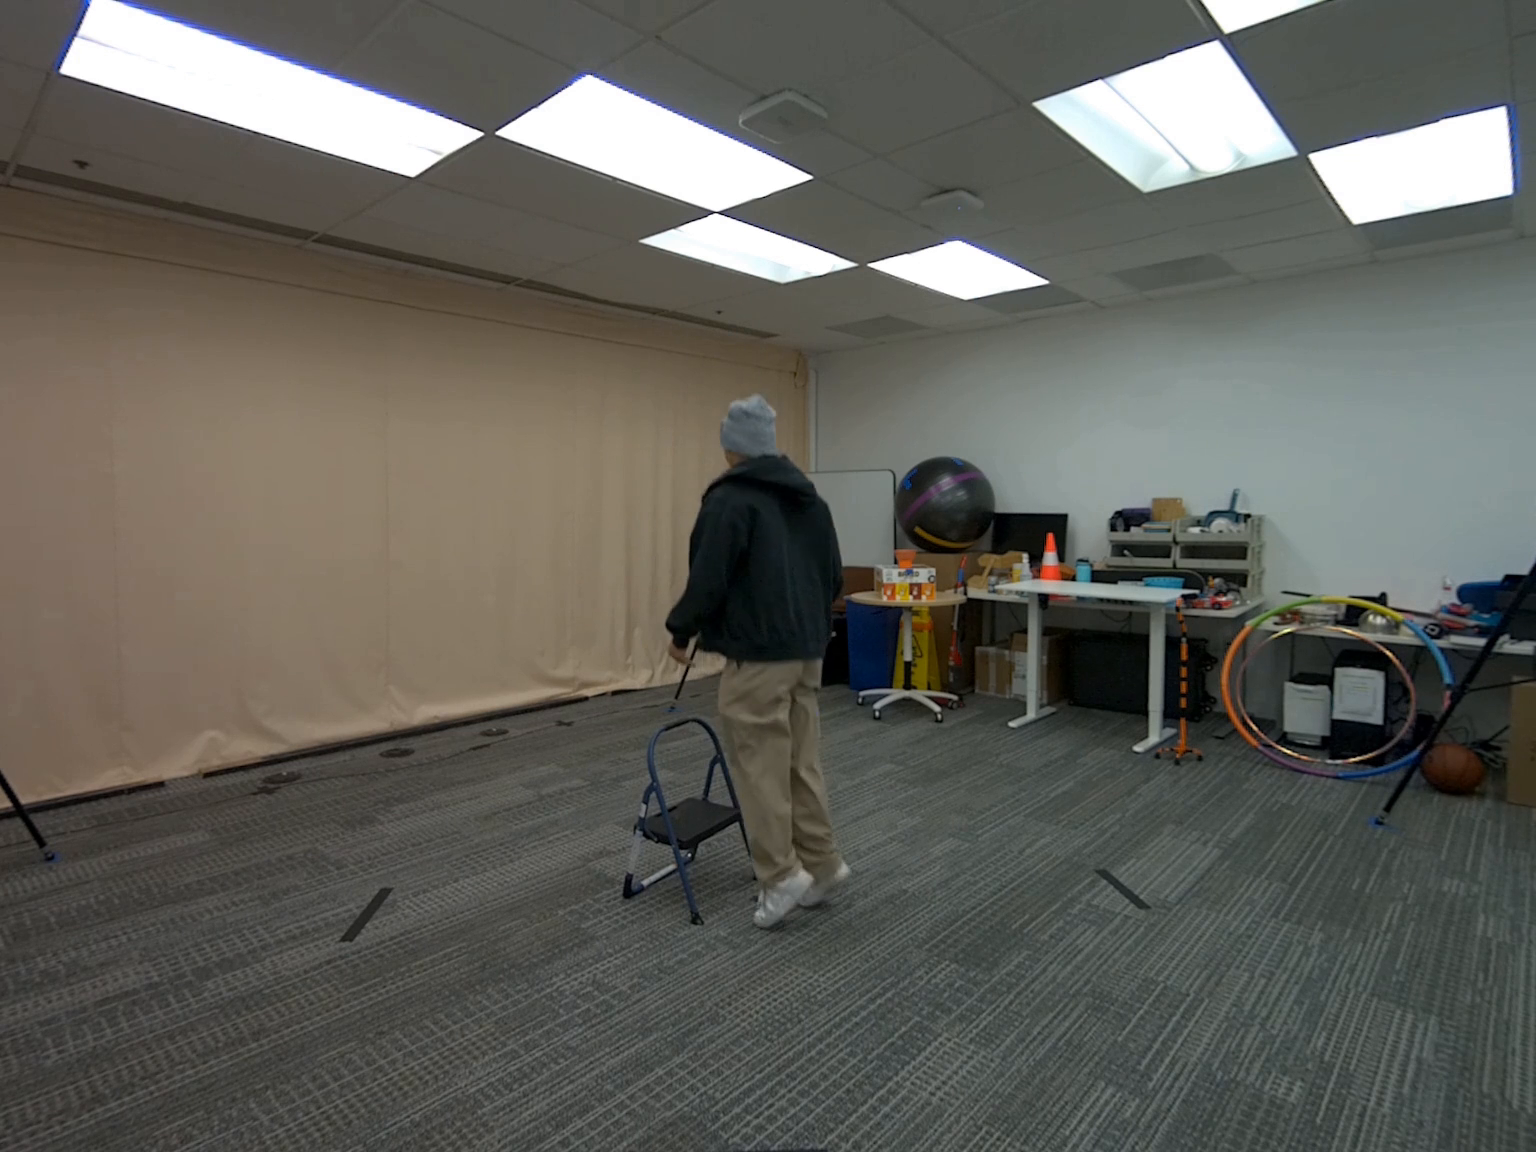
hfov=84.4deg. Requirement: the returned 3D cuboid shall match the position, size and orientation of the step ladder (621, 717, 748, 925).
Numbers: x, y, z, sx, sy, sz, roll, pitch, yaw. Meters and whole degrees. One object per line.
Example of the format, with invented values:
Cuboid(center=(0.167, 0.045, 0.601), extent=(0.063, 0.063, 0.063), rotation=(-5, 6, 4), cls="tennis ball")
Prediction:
Cuboid(center=(-0.269, 0.837, 3.053), extent=(0.360, 0.605, 0.418), rotation=(2, 4, 33), cls="step ladder")
